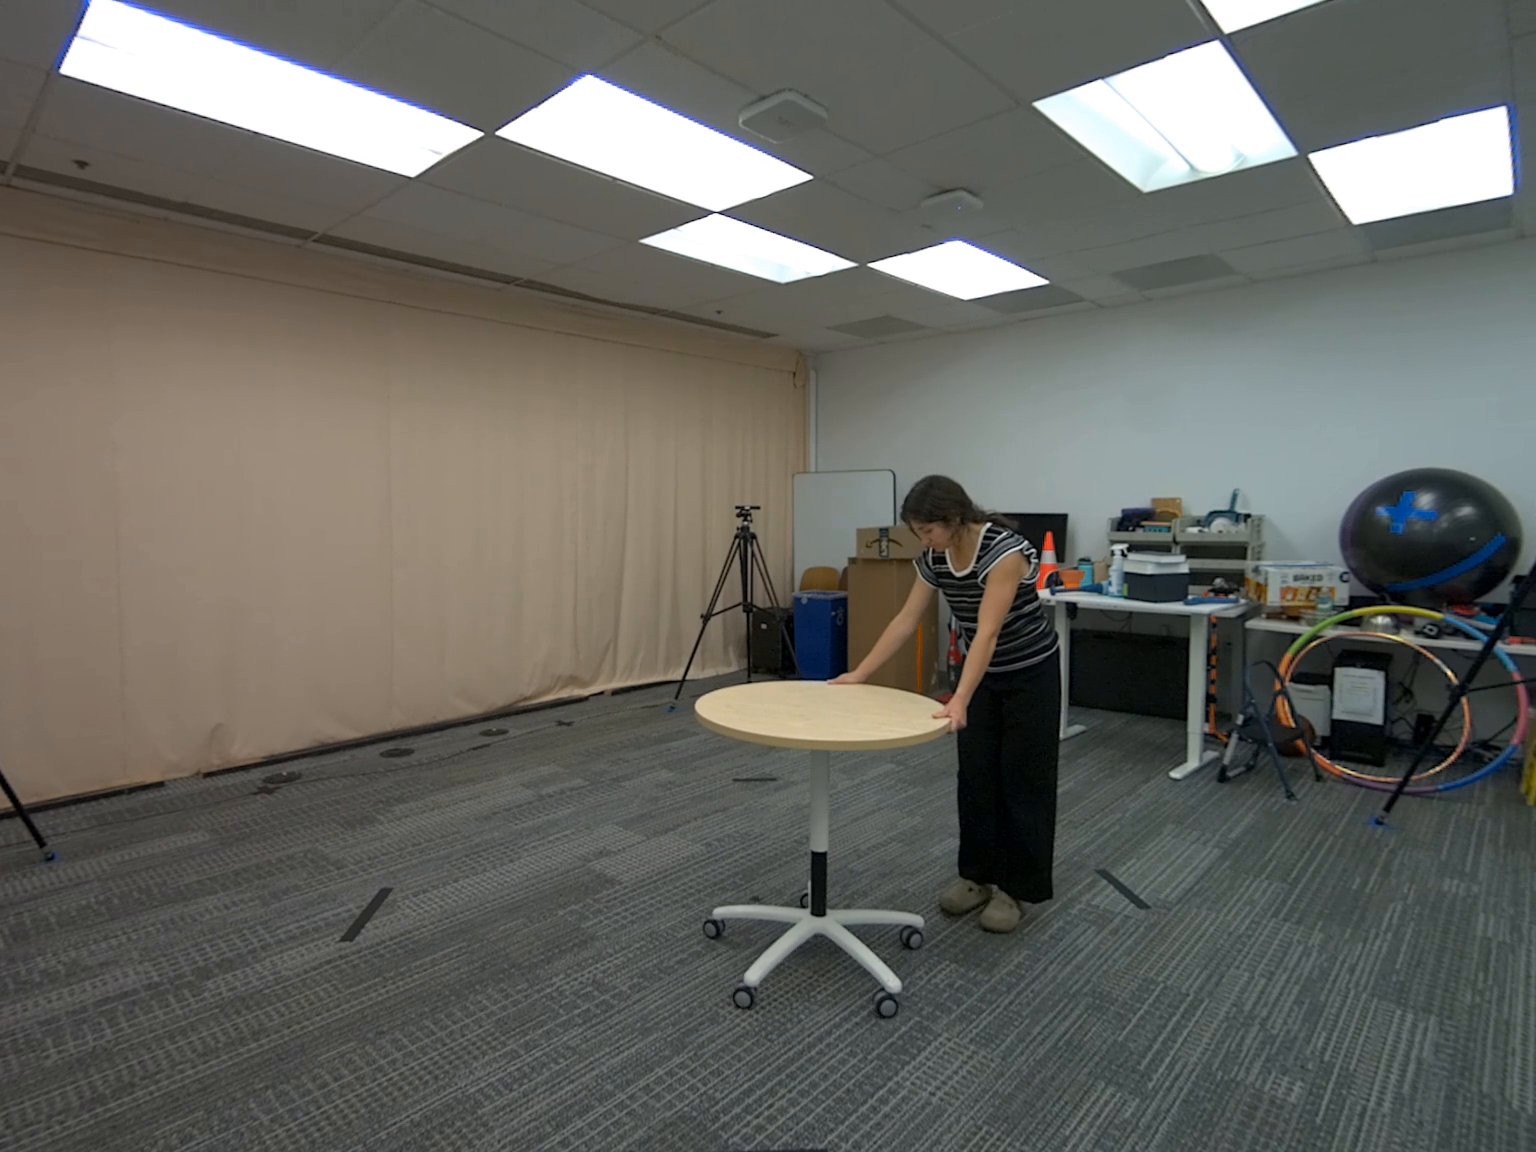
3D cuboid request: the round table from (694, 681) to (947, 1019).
[{"bbox_3d":[0.149,0.790,2.573,0.763,0.792,0.766,0,4,-2],"label":"round table"}]
